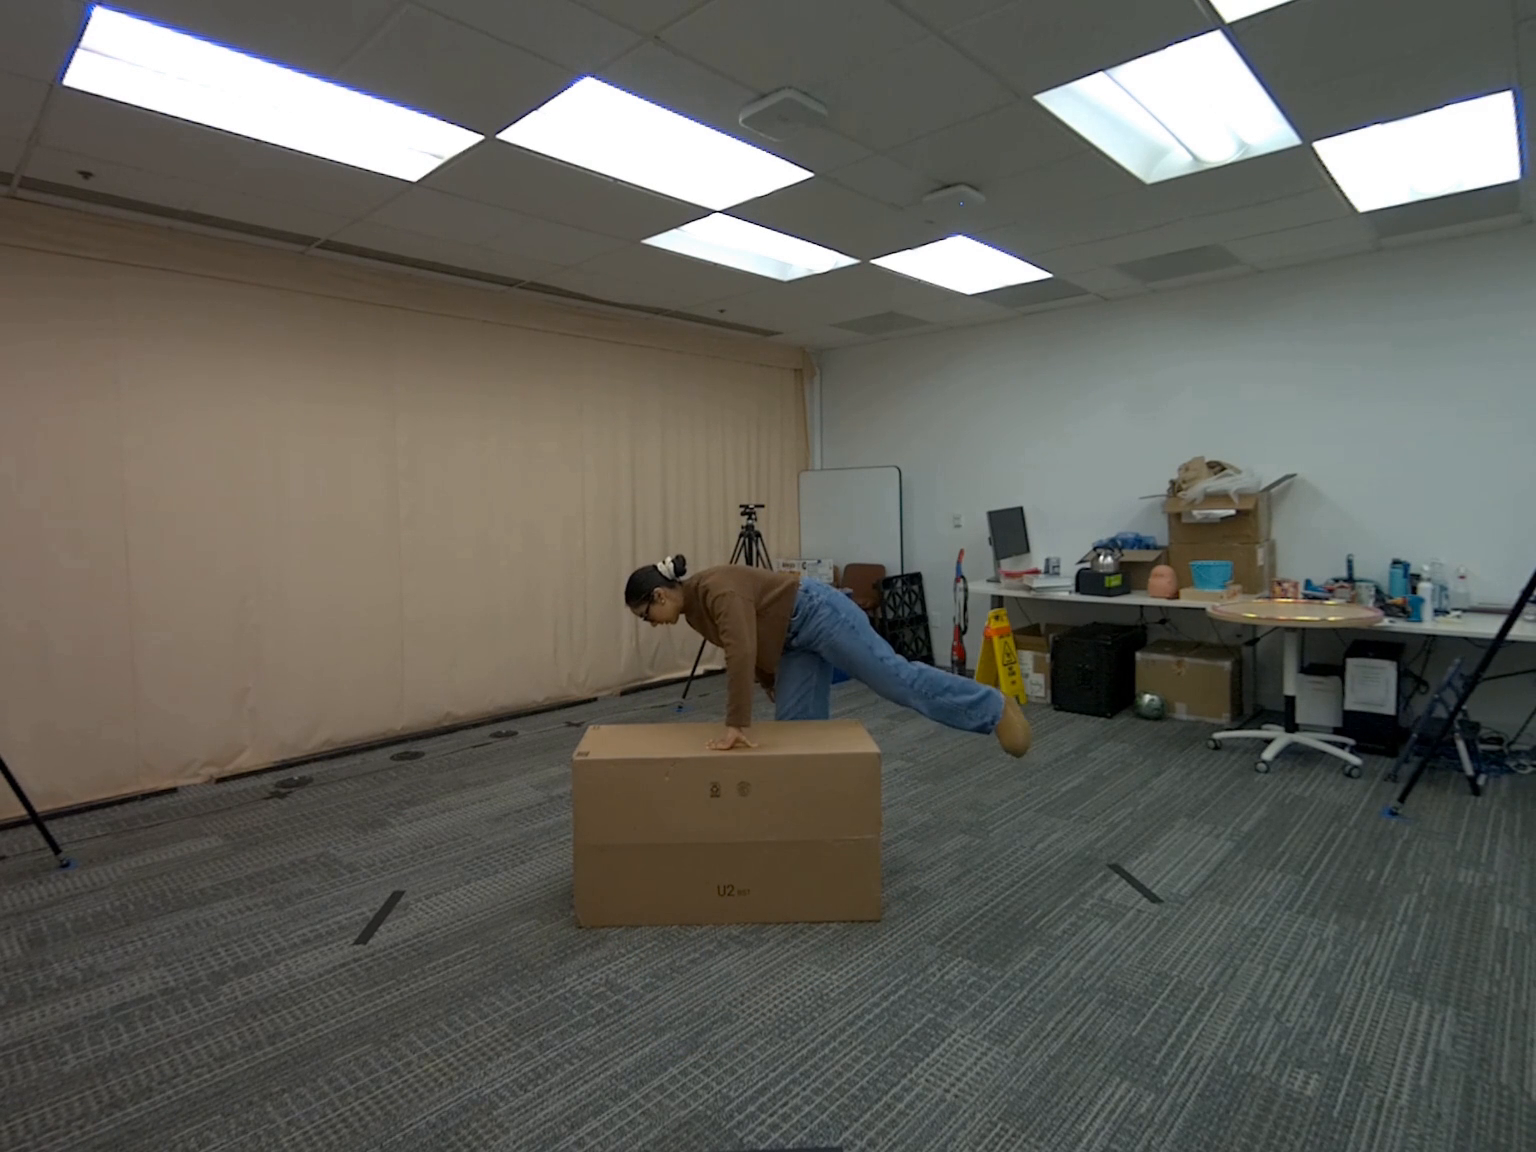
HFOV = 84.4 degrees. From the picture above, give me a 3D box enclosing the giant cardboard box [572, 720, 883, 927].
[{"bbox_3d":[-0.152,0.858,2.994,1.027,0.582,0.448,-1,5,0],"label":"giant cardboard box"}]
